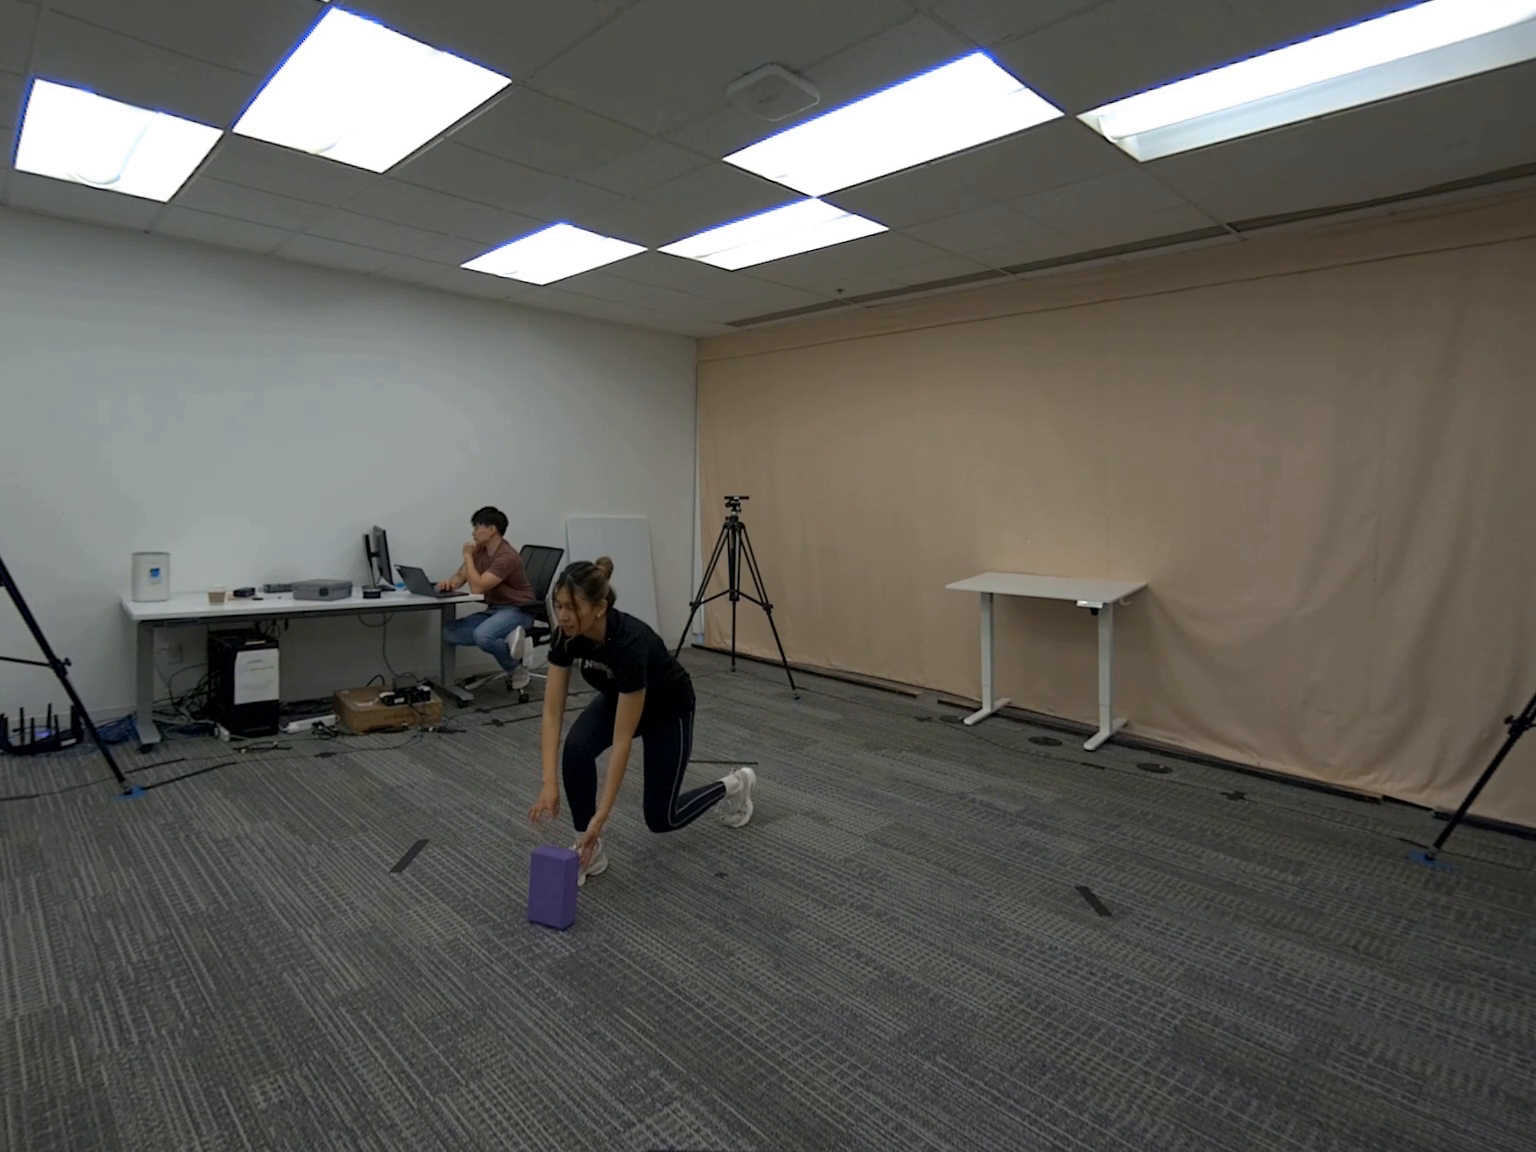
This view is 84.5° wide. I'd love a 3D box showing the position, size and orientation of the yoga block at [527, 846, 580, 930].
[{"bbox_3d":[-0.707,1.010,2.730,0.152,0.229,0.075,4,3,23],"label":"yoga block"}]
